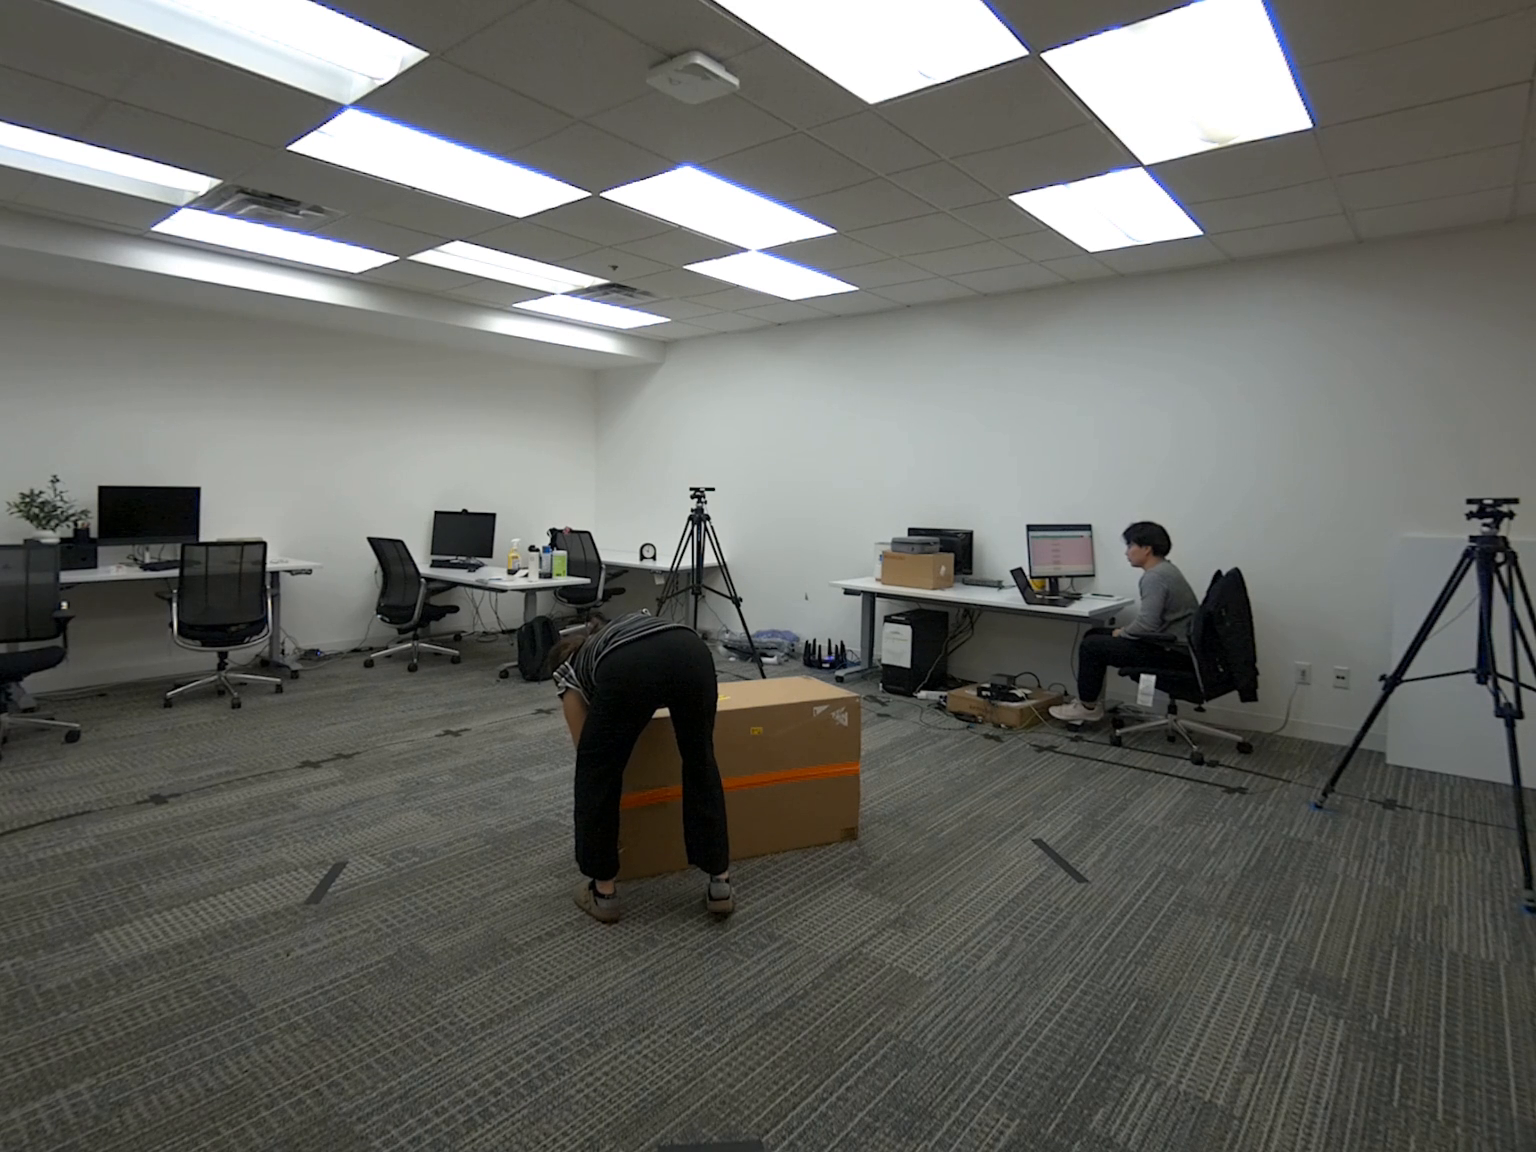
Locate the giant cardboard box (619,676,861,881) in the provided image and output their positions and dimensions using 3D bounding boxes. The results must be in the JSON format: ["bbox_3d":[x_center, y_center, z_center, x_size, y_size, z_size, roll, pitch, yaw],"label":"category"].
[{"bbox_3d":[-0.186,0.754,3.373,1.001,0.576,0.438,-2,4,-25],"label":"giant cardboard box"}]
